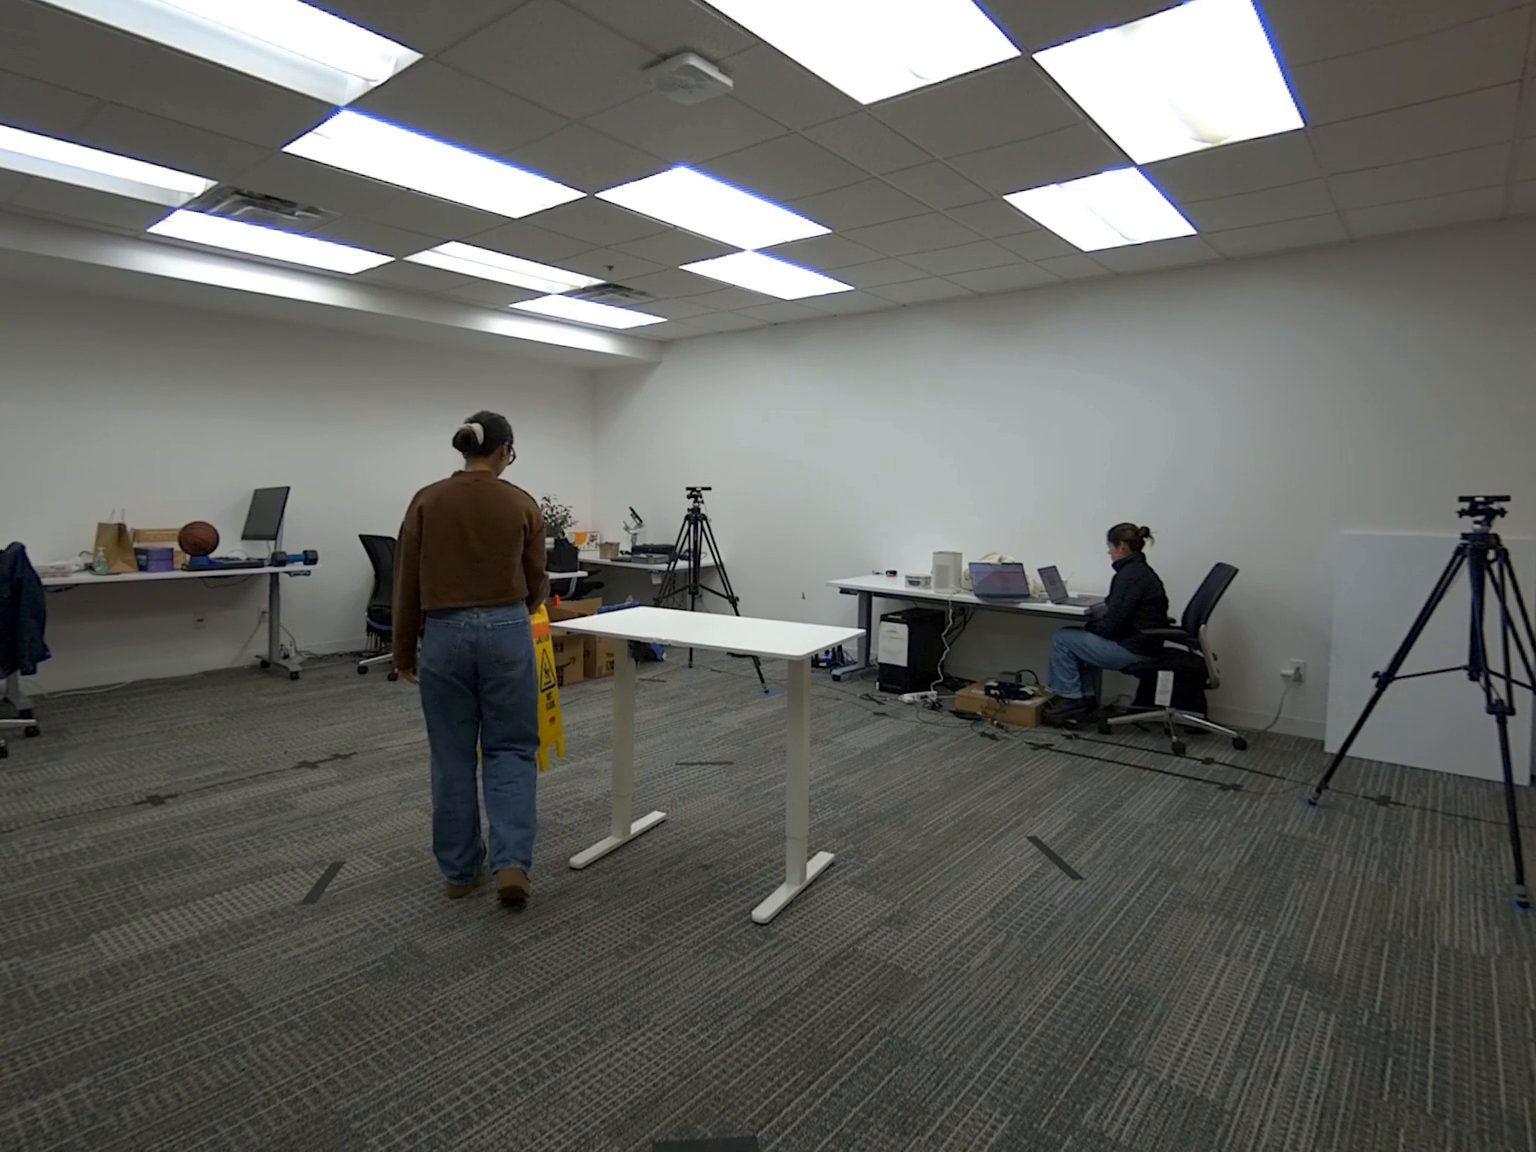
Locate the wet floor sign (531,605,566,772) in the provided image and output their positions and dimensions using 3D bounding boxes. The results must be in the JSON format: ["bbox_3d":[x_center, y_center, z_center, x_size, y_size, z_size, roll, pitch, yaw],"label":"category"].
[{"bbox_3d":[-0.946,0.387,3.304,0.291,0.646,0.281,6,0,3],"label":"wet floor sign"}]
